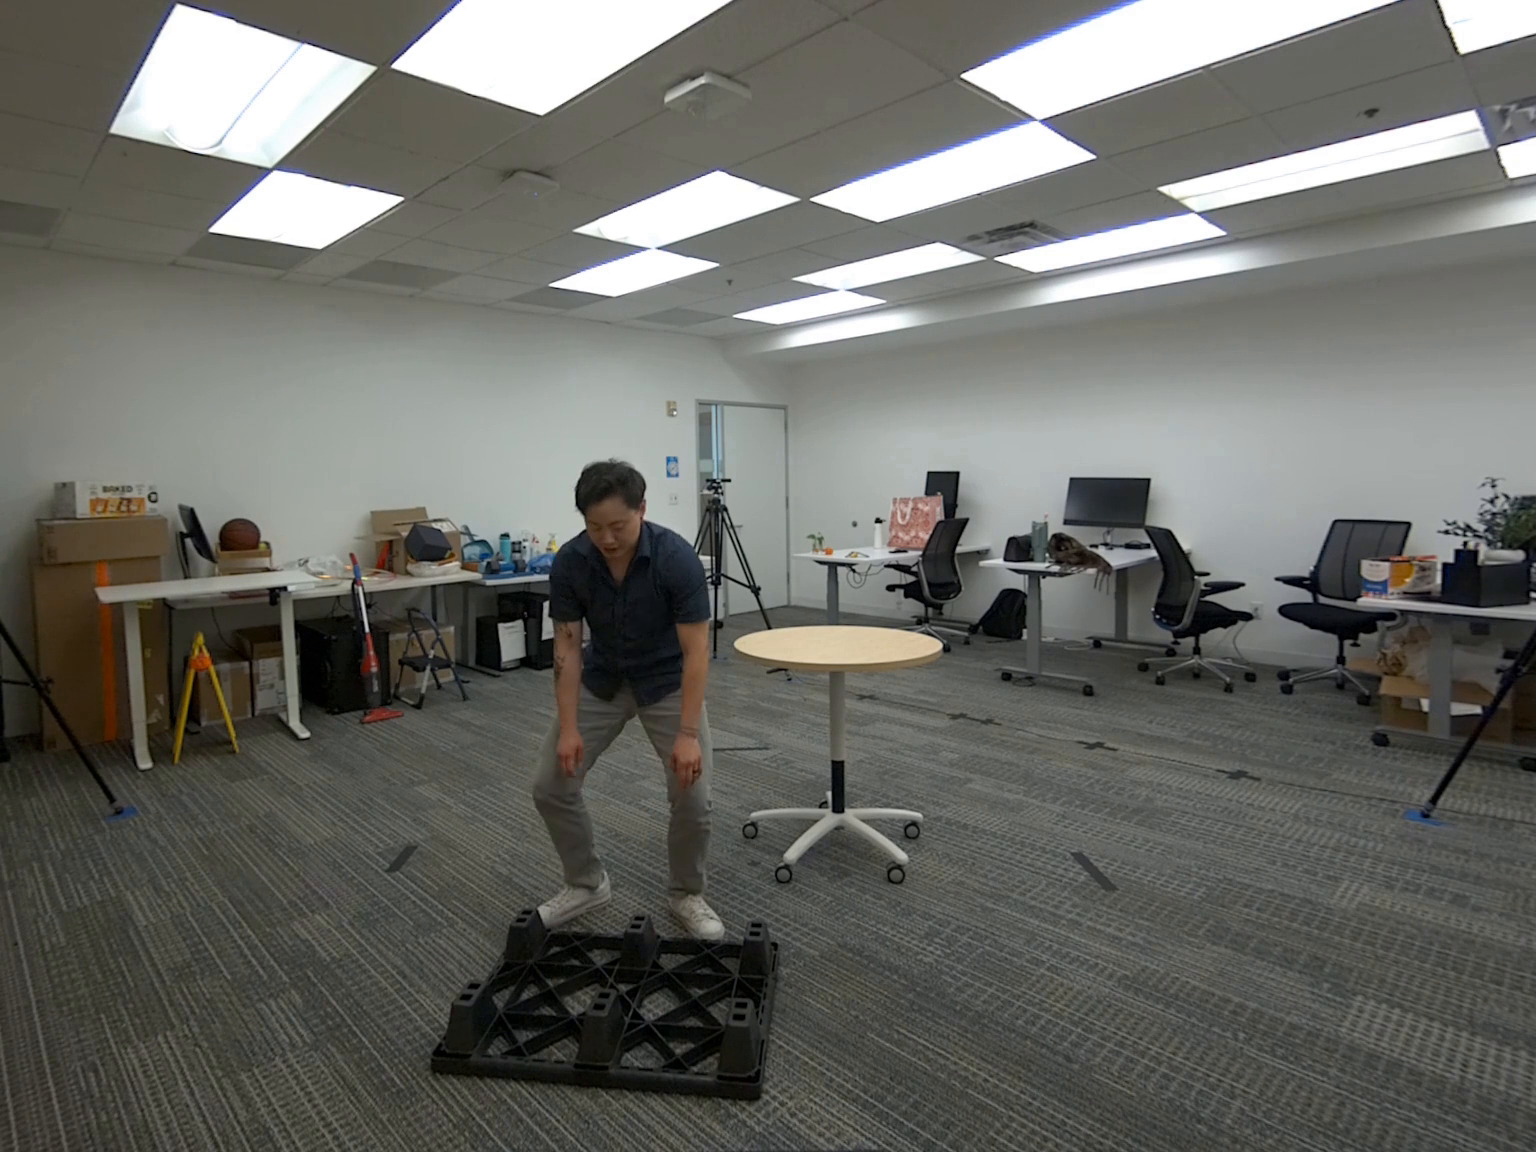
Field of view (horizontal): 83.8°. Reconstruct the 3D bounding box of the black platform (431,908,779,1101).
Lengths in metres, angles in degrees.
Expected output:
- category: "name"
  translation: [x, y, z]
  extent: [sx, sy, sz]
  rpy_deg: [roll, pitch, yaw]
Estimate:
- category: "black platform"
  translation: [-0.385, 1.085, 2.260]
  extent: [0.811, 0.143, 0.603]
  rpy_deg: [-1, 6, 7]
